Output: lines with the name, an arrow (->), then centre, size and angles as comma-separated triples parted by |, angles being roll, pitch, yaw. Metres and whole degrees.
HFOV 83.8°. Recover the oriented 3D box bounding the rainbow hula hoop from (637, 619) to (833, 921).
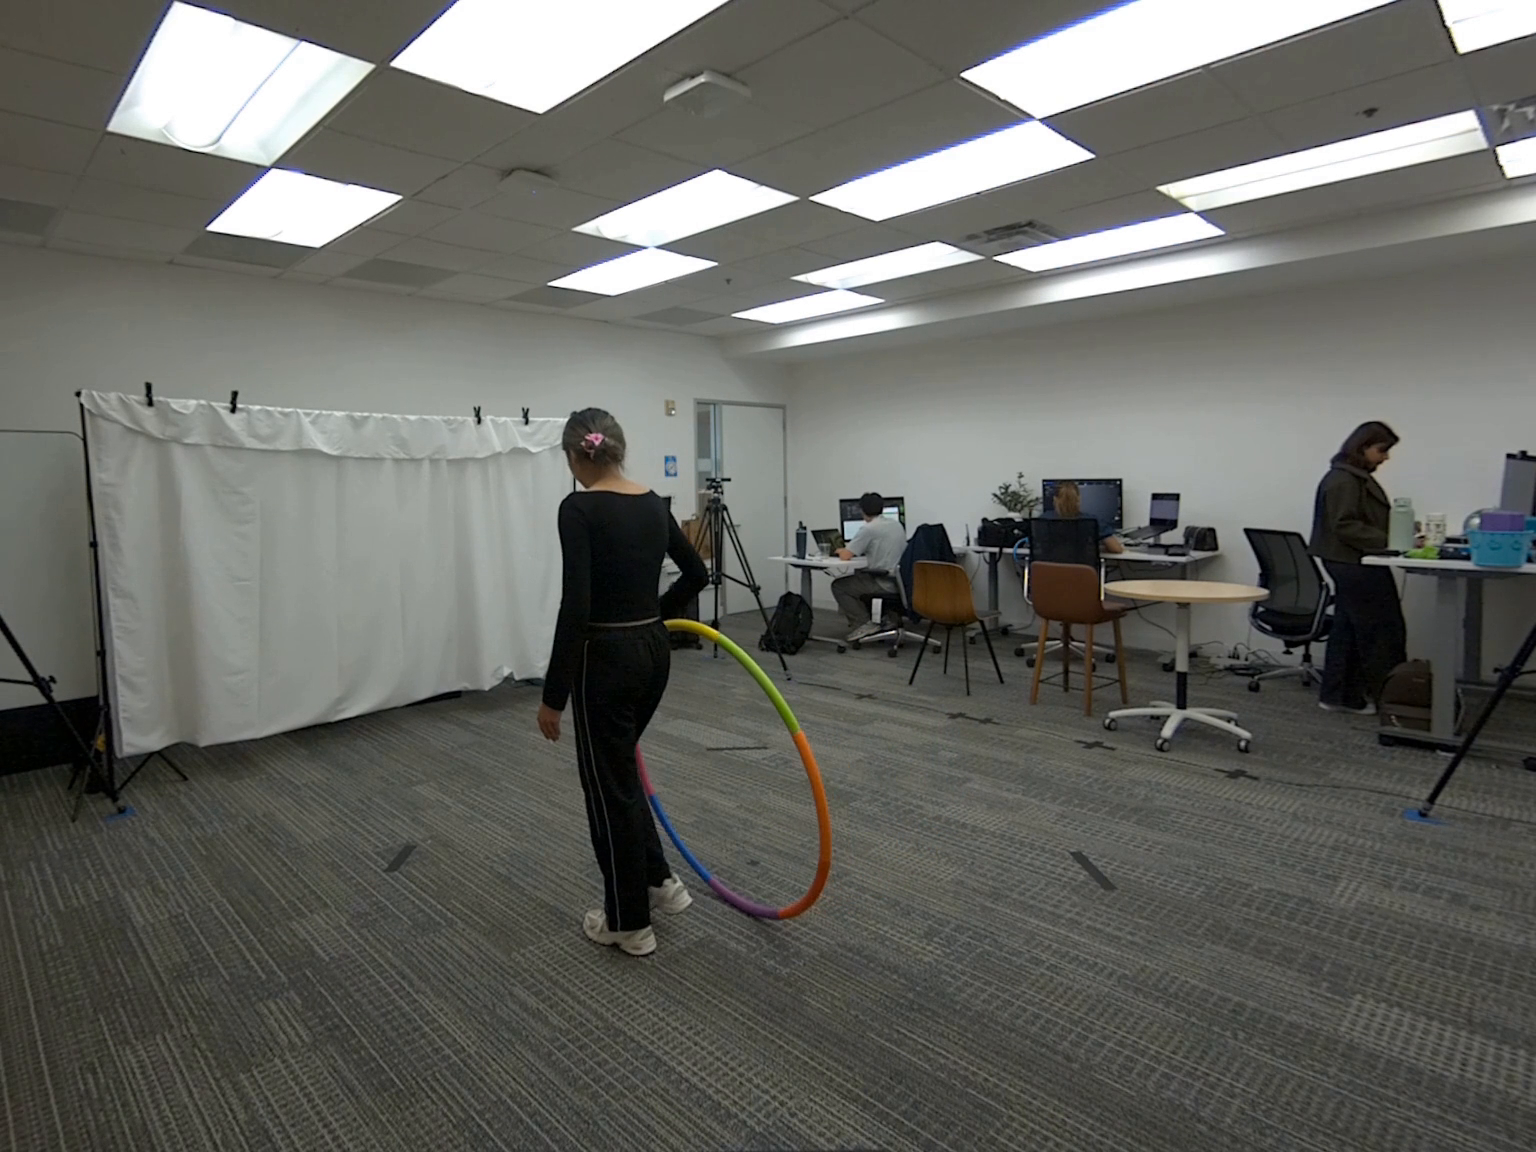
rainbow hula hoop -> -0.162, 0.612, 2.717 | 0.035, 0.969, 1.009 | -16, 13, -38
